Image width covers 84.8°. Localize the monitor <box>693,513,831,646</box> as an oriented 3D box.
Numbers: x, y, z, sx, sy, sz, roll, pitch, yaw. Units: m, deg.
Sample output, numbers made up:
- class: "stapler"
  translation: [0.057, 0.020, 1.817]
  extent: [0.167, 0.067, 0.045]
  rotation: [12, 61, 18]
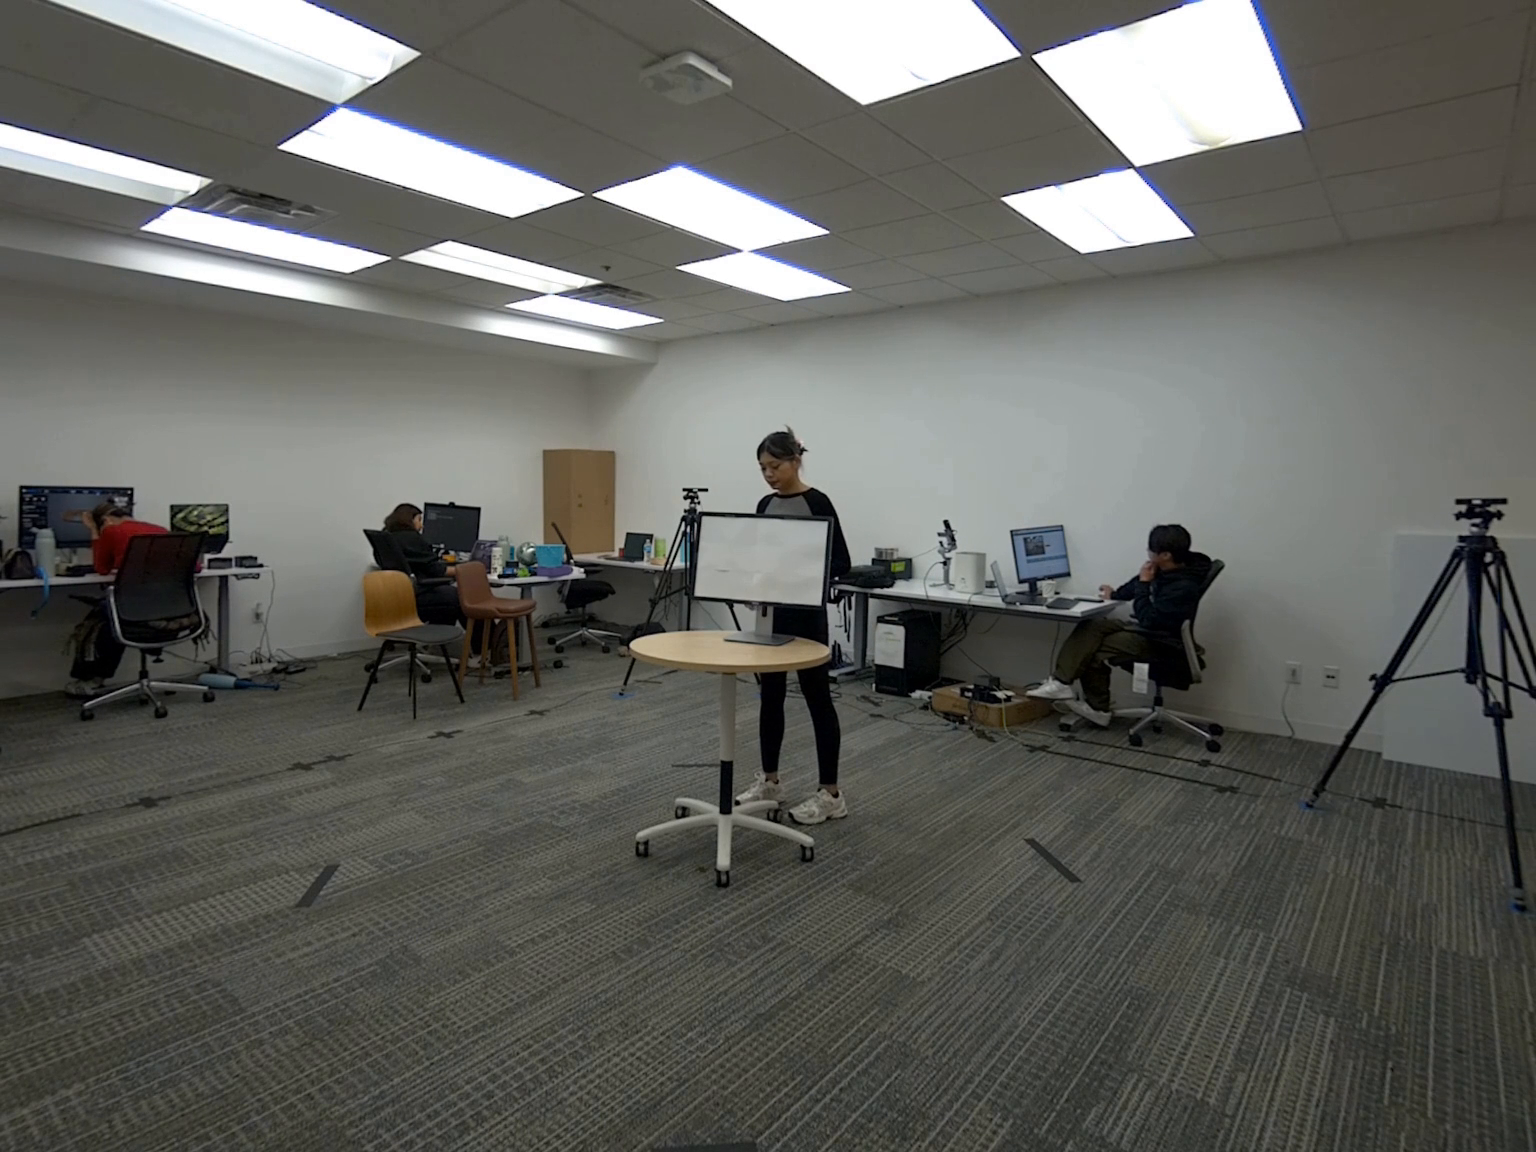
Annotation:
- class: "monitor"
  translation: [-0.033, 0.008, 3.414]
  extent: [0.550, 0.520, 0.184]
  rotation: [3, 5, 18]
